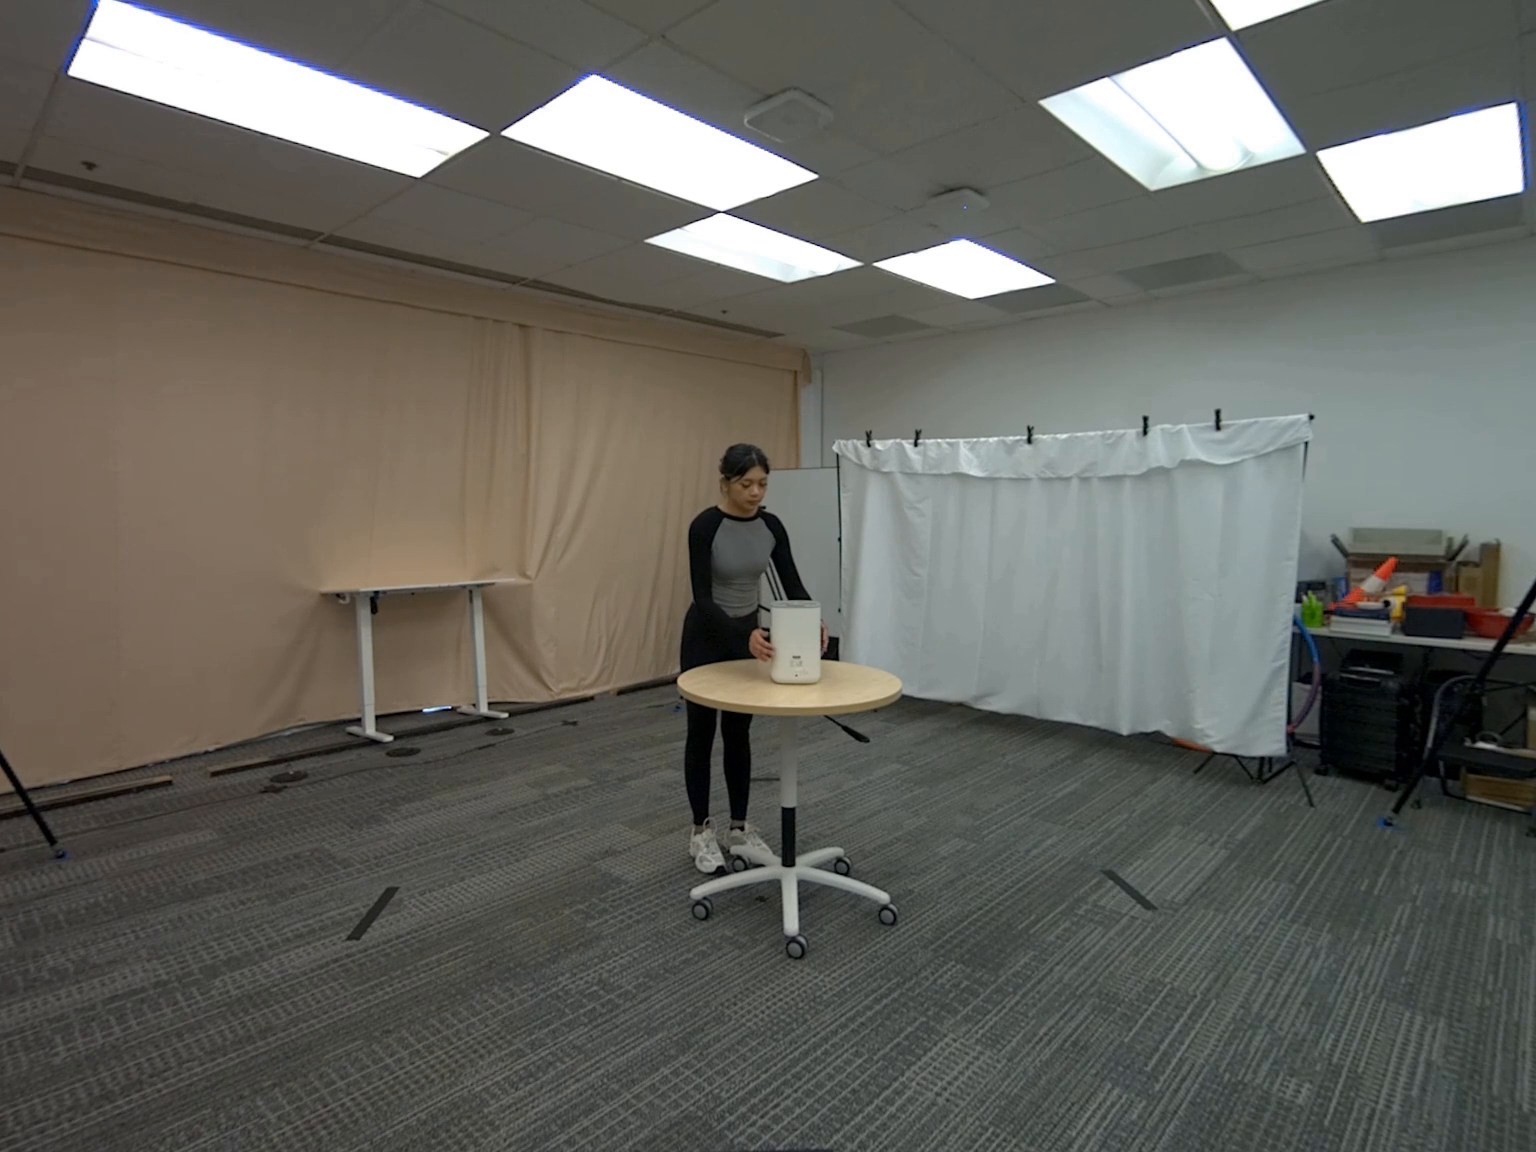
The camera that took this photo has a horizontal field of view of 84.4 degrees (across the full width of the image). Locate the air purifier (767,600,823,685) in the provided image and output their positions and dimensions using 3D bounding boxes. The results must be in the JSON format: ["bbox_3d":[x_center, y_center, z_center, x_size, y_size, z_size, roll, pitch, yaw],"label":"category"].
[{"bbox_3d":[0.099,0.228,2.877,0.171,0.265,0.172,2,4,-2],"label":"air purifier"}]
